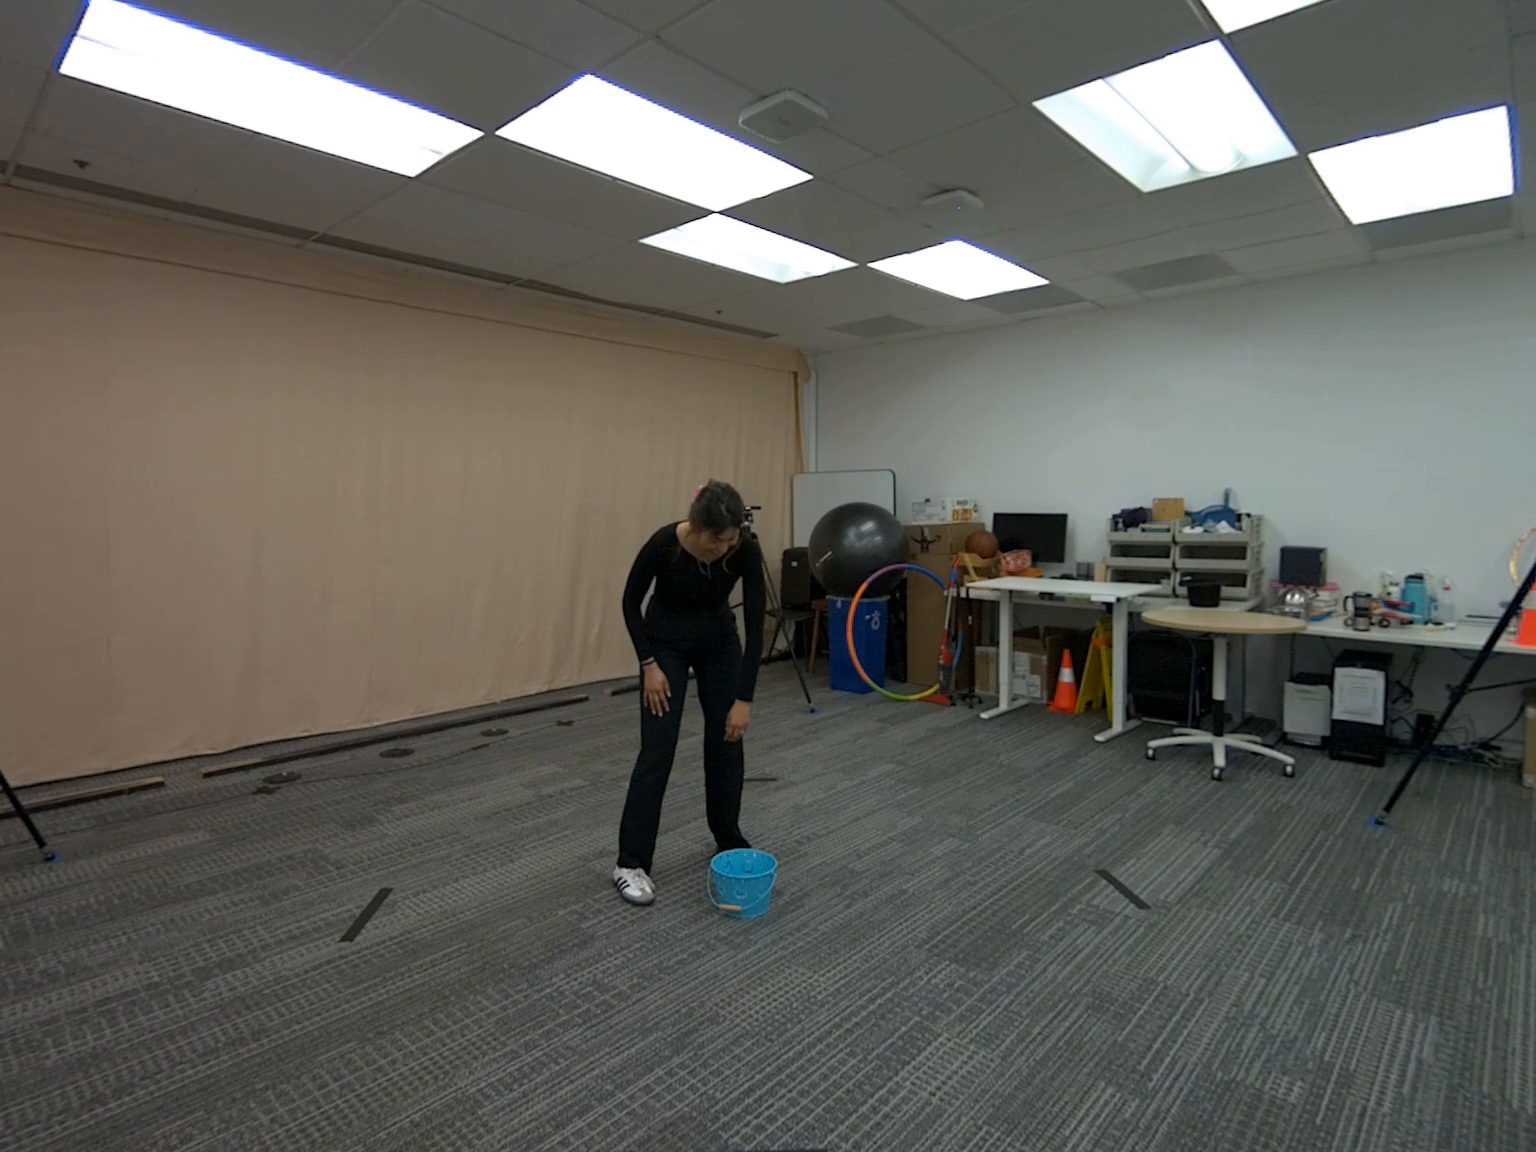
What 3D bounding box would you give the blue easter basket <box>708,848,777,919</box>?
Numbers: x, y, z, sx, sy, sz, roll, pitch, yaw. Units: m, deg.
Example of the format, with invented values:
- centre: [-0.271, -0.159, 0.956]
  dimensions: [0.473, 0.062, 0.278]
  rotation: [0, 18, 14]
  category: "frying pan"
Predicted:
- centre: [-0.088, 1.069, 2.928]
  dimensions: [0.243, 0.155, 0.244]
  rotation: [0, 4, -2]
  category: "blue easter basket"
